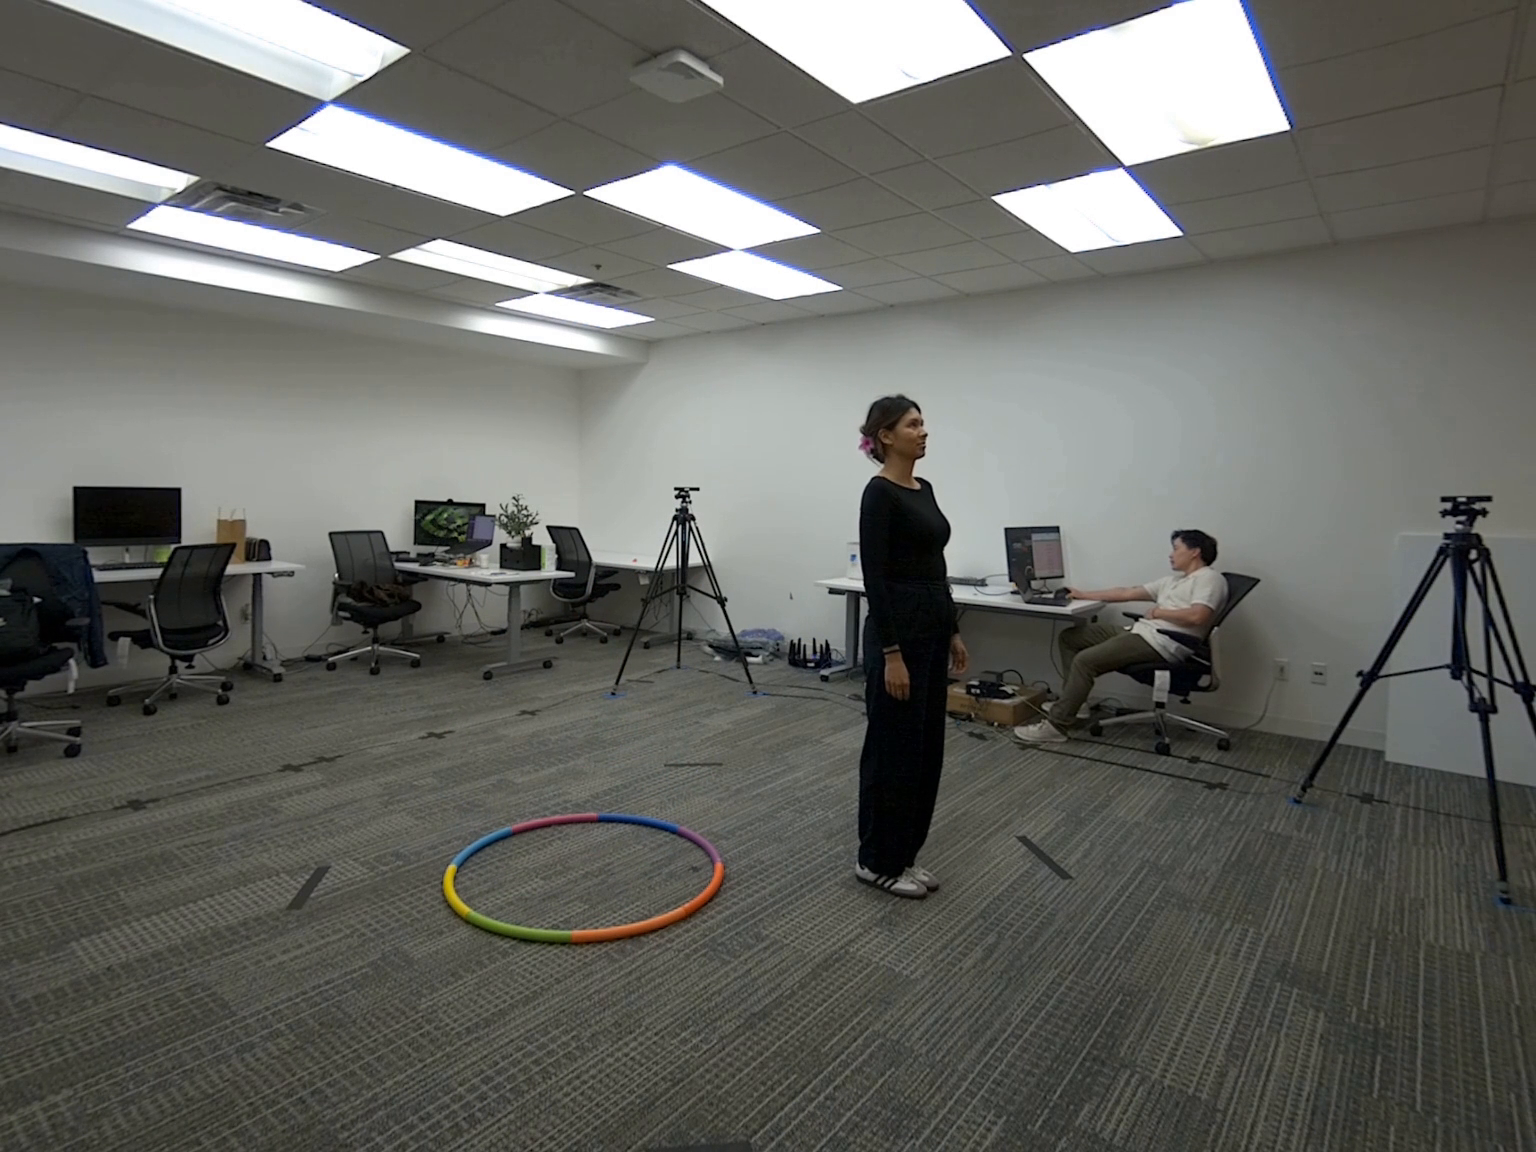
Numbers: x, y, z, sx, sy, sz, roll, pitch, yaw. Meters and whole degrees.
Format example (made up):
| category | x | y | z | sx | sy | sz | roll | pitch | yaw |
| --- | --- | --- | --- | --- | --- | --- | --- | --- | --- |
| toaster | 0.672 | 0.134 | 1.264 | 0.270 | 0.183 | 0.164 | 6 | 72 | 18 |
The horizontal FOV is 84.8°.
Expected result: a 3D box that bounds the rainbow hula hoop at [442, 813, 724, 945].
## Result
| category | x | y | z | sx | sy | sz | roll | pitch | yaw |
| --- | --- | --- | --- | --- | --- | --- | --- | --- | --- |
| rainbow hula hoop | -0.654 | 1.032 | 3.059 | 0.978 | 0.035 | 0.984 | 1 | 5 | -2 |
